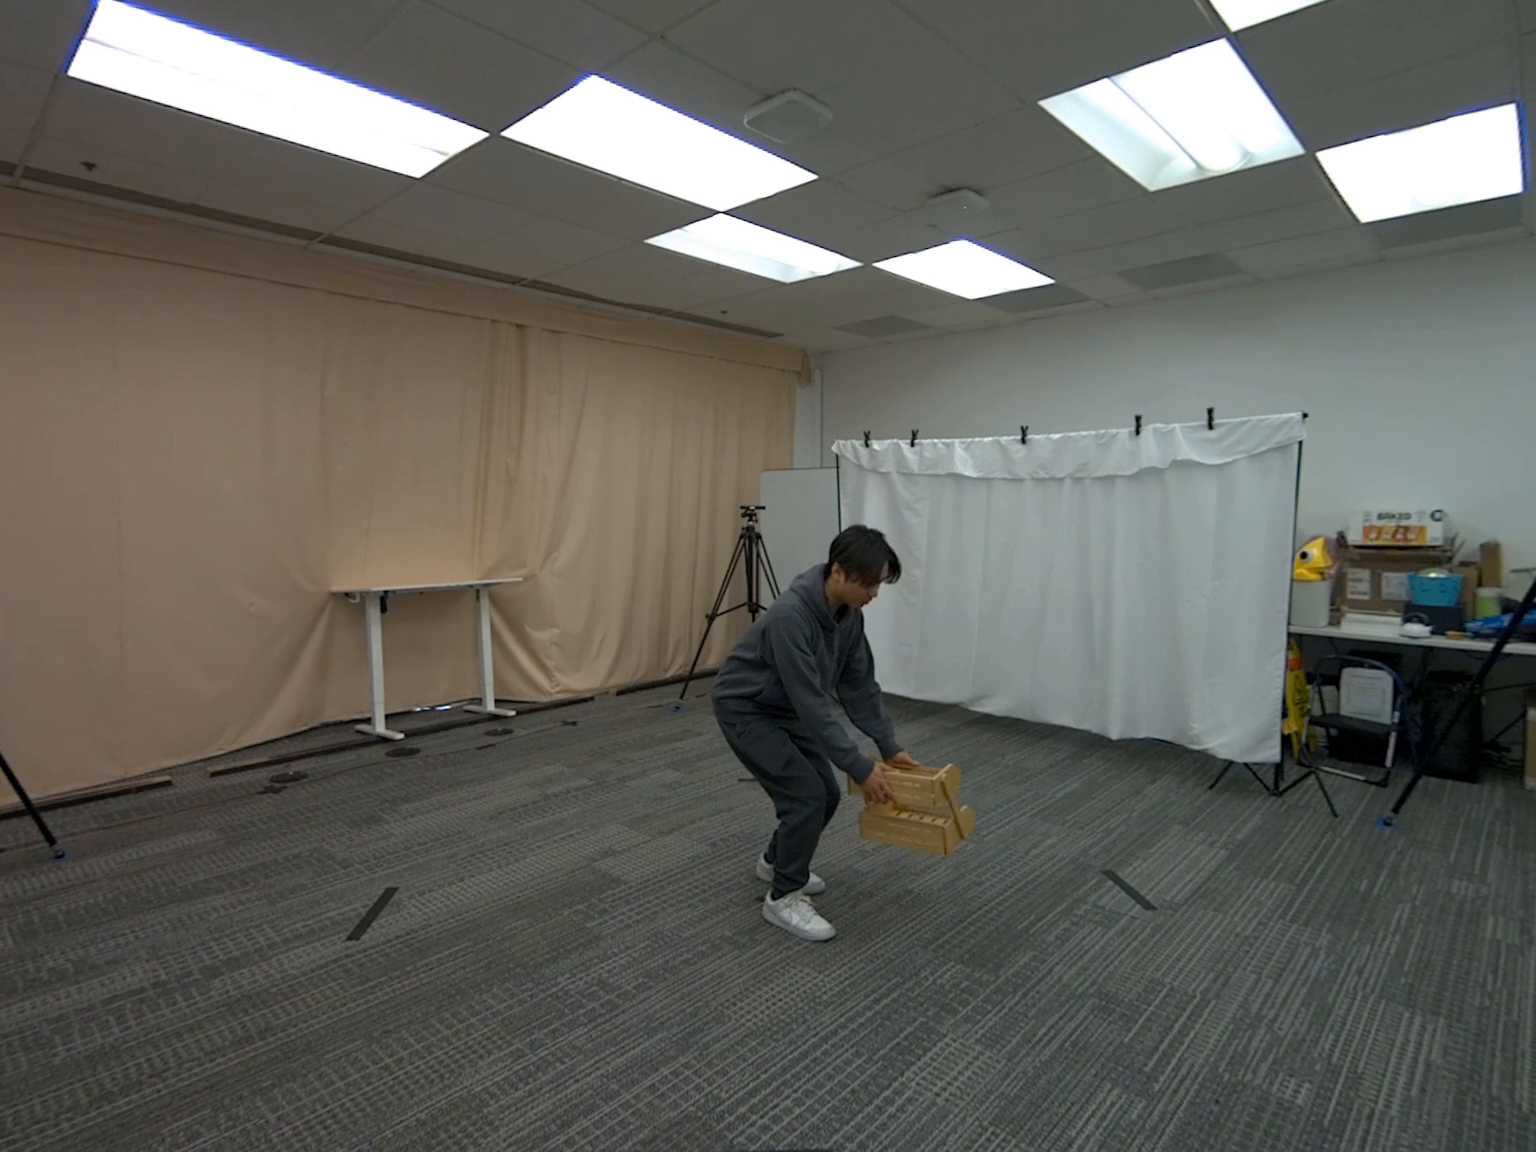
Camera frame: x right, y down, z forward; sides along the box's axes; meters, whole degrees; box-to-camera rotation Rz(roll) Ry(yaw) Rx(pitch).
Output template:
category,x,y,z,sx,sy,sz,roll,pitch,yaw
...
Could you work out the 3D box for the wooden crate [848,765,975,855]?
category,x,y,z,sx,sy,sz,roll,pitch,yaw
wooden crate,0.480,0.724,2.758,0.334,0.272,0.294,-2,7,35
